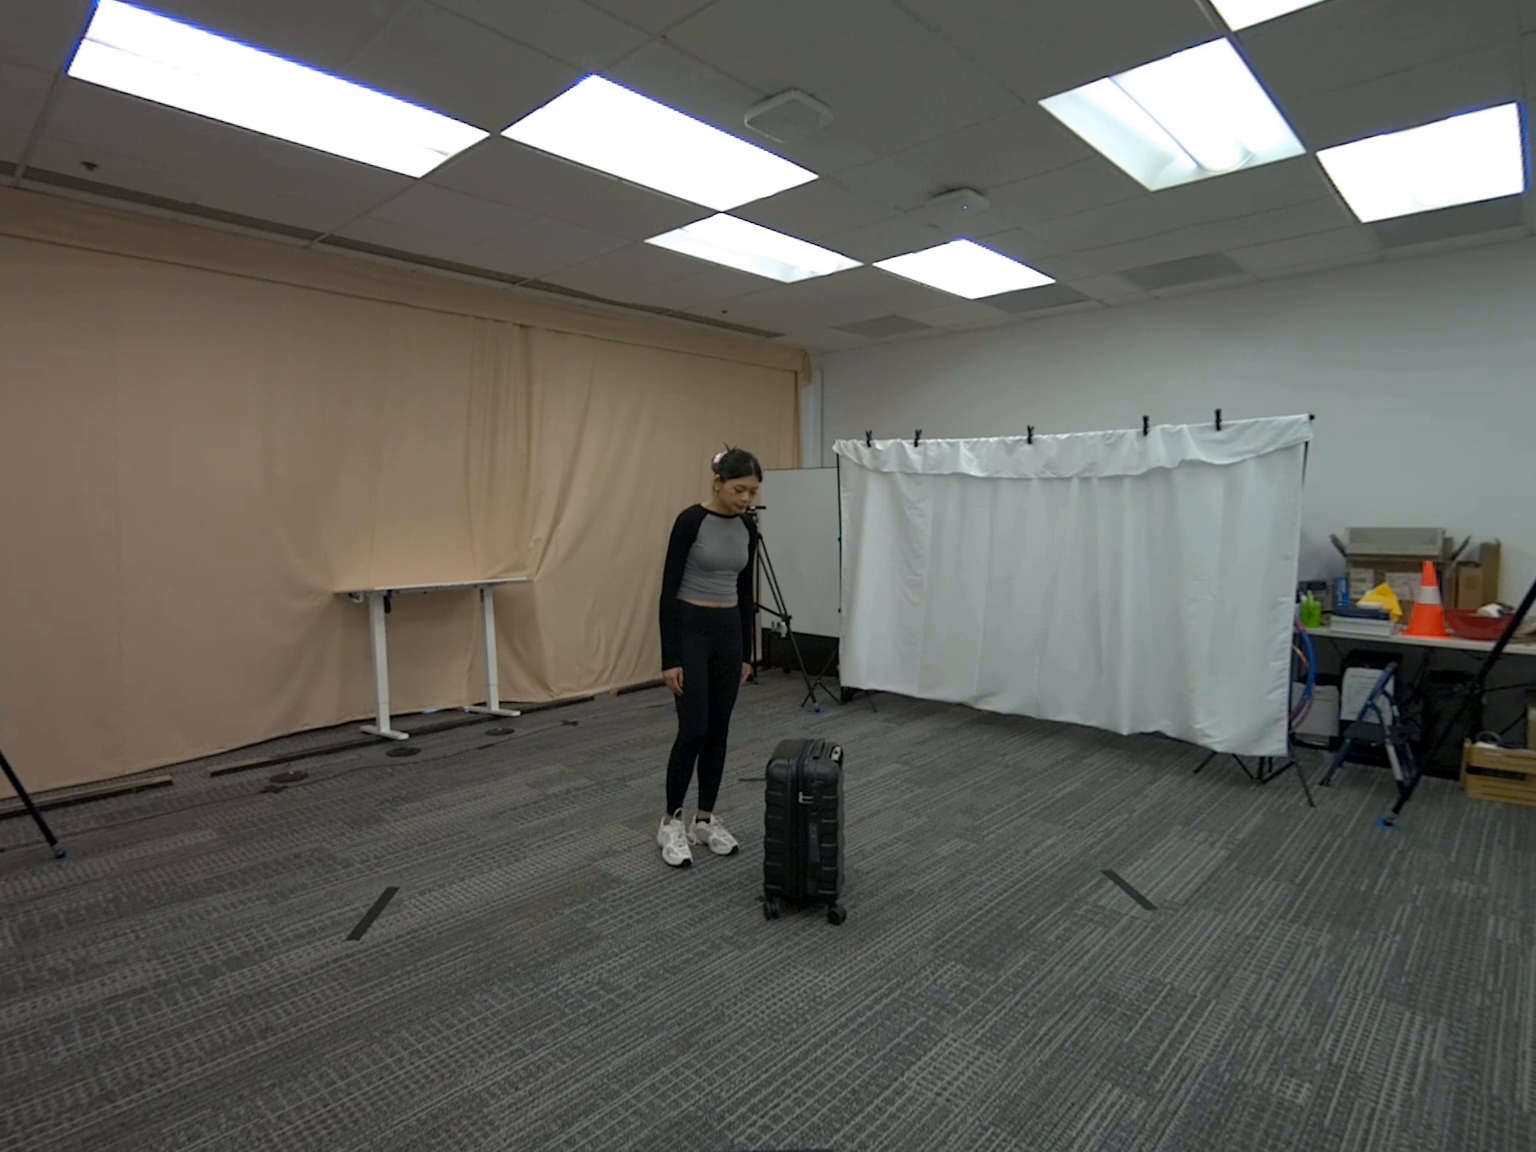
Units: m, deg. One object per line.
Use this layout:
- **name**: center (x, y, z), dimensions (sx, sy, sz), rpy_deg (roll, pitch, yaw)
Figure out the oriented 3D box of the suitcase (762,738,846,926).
- **suitcase**: center (0.135, 0.867, 2.970), dimensions (0.252, 0.548, 0.371), rpy_deg (1, 4, 11)
